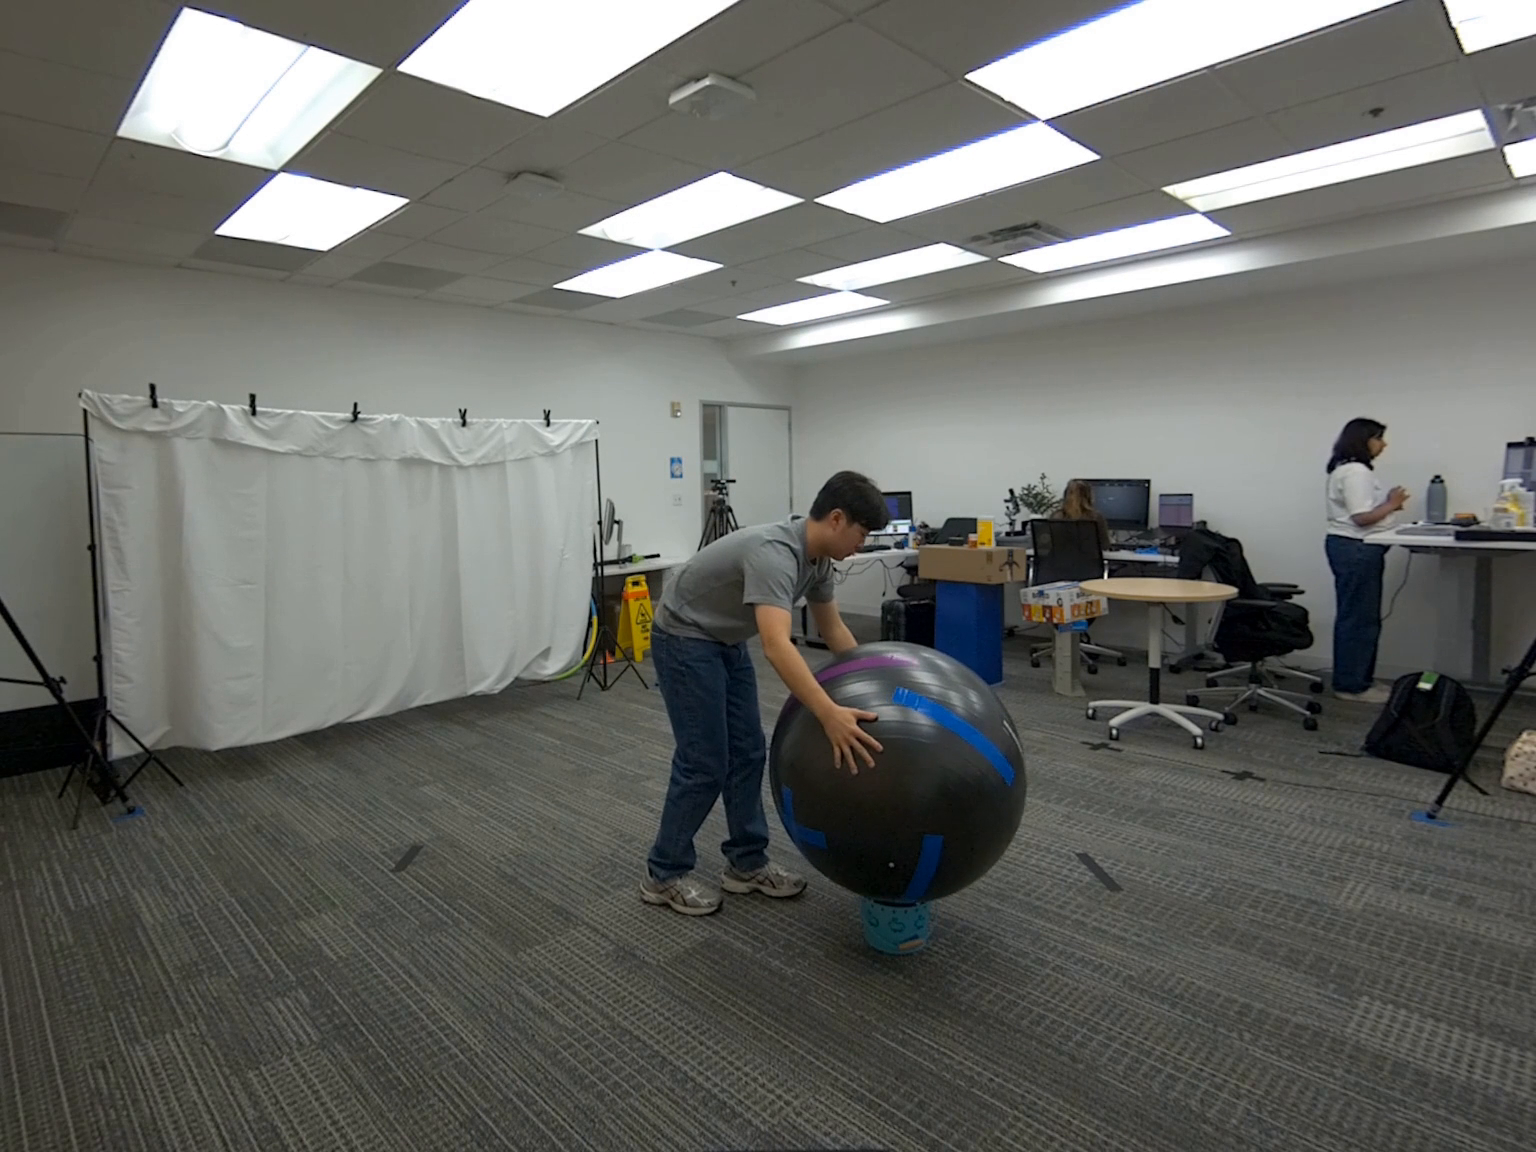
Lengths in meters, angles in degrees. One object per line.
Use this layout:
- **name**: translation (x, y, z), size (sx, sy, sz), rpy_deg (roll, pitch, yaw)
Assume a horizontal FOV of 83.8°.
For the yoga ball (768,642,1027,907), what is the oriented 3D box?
- **yoga ball**: translation (0.386, 0.589, 2.586), size (0.757, 0.755, 0.762), rpy_deg (-1, 5, -2)
